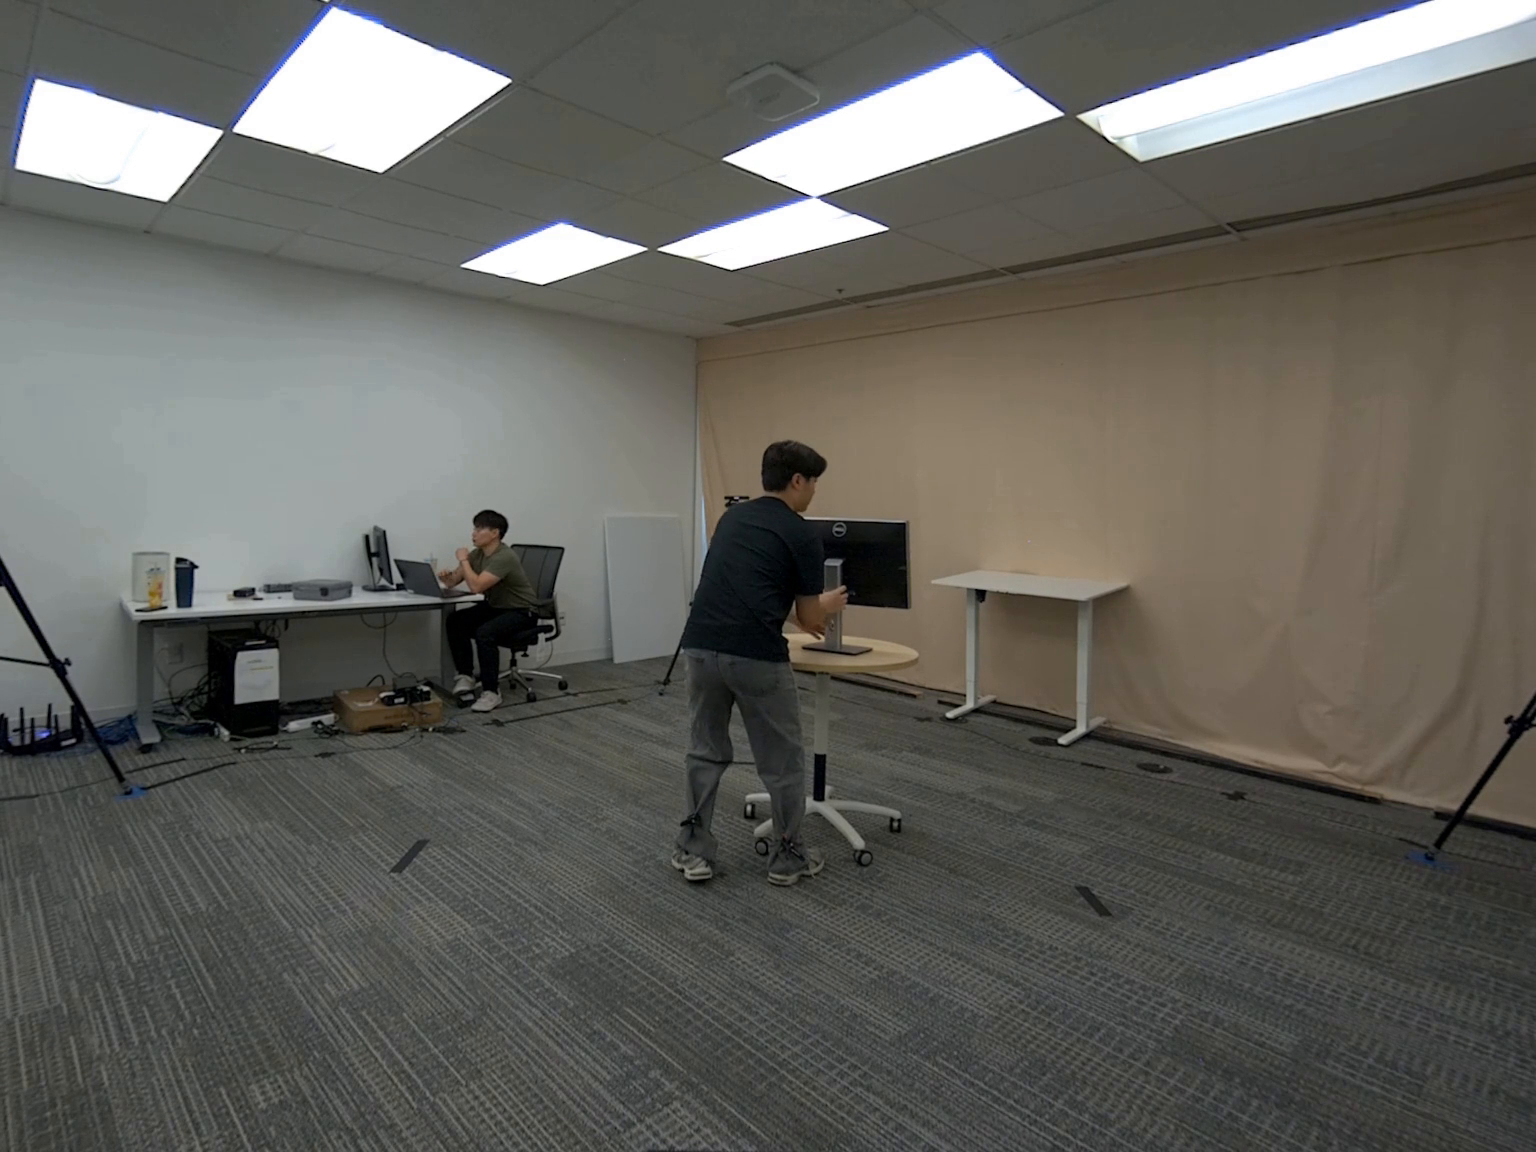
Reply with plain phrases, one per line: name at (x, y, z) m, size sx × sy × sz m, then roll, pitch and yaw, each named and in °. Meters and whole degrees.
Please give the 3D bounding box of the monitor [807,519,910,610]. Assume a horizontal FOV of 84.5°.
monitor at (0.294, 0.044, 3.458) m, size 0.575 × 0.566 × 0.217 m, roll 4°, pitch 0°, yaw 34°
